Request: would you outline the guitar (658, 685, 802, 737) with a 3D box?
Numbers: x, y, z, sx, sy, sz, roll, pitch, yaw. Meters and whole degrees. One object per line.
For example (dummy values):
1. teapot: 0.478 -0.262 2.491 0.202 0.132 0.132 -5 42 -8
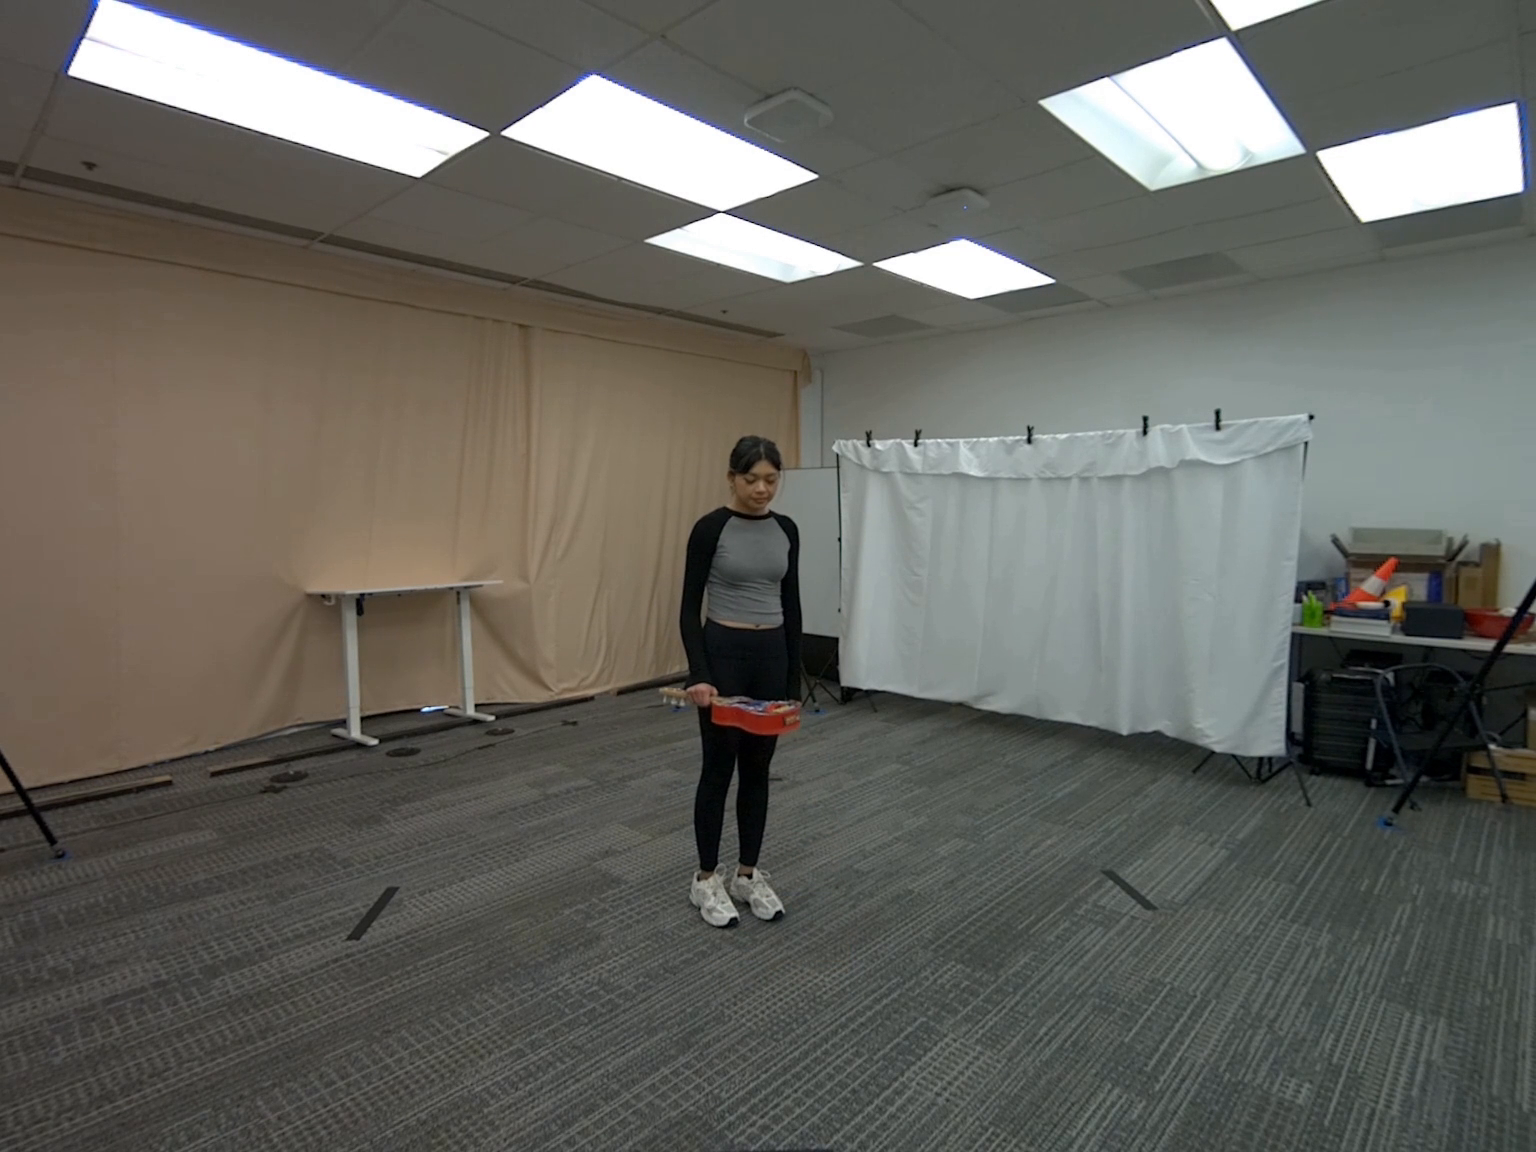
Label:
1. guitar: -0.121 0.412 2.642 0.514 0.070 0.187 4 5 43
